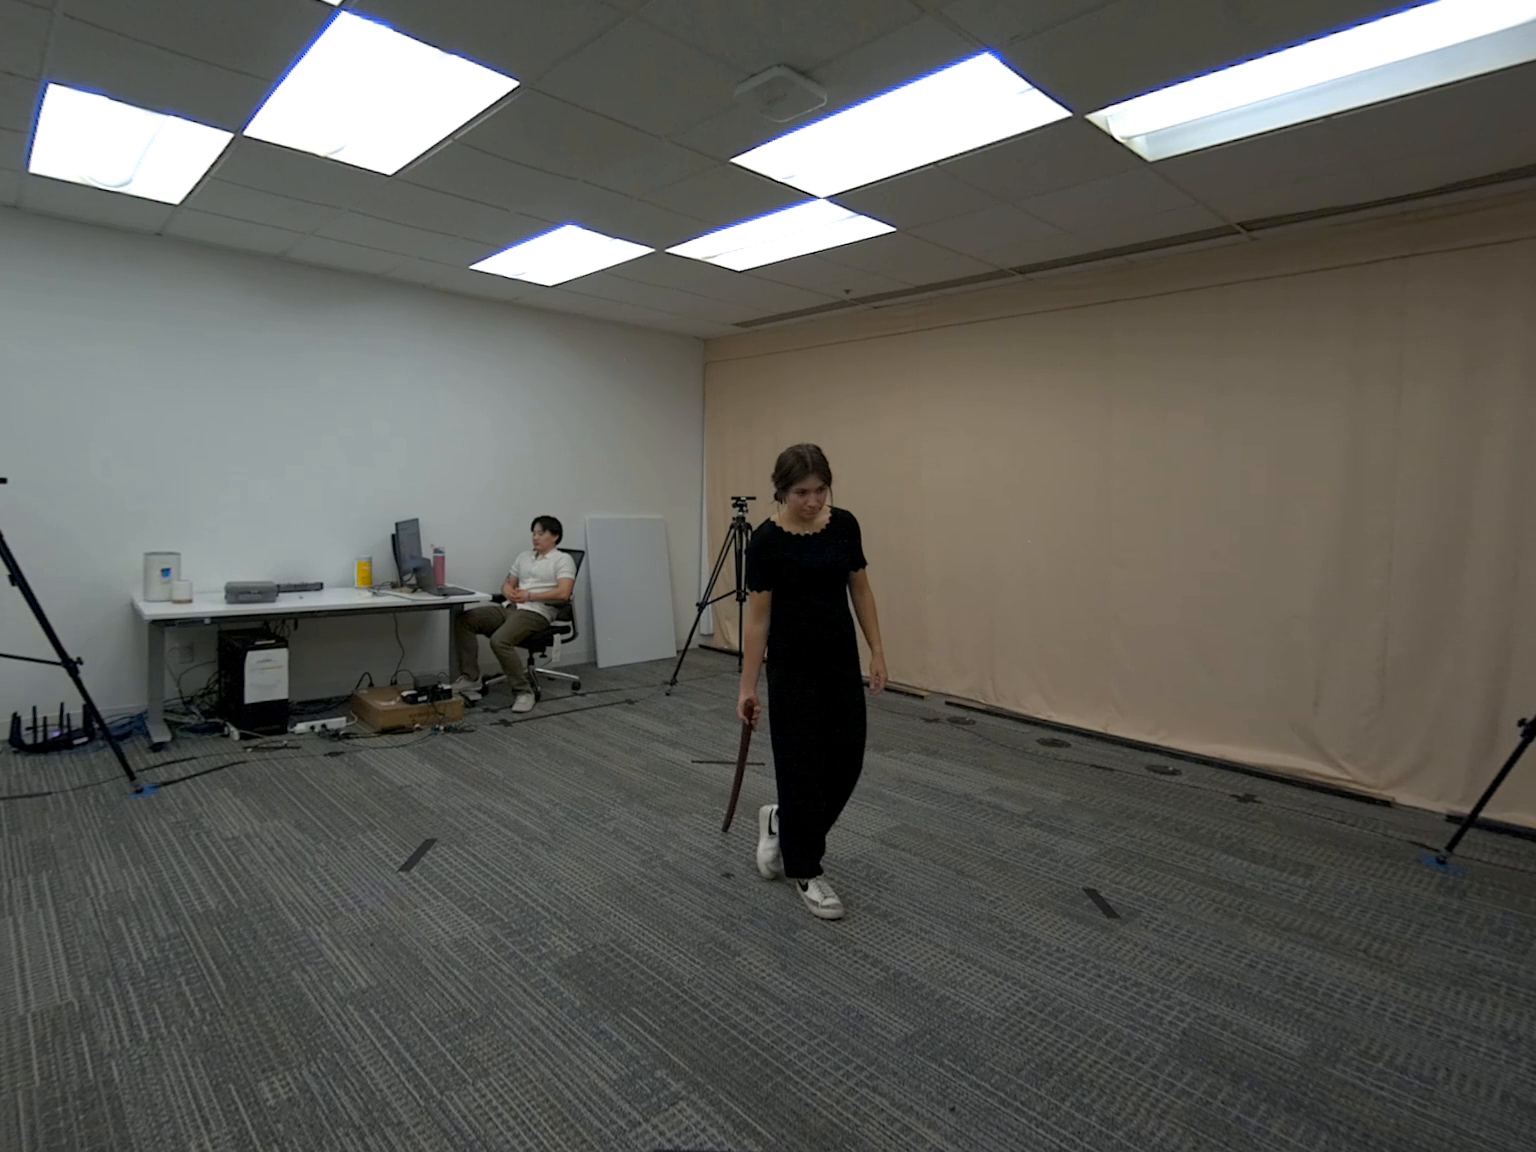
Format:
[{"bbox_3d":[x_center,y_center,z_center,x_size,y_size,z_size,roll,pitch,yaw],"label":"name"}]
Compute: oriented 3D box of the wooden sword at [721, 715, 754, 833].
[{"bbox_3d":[-0.126,0.732,3.140,0.024,1.006,0.053,-24,55,-28],"label":"wooden sword"}]
